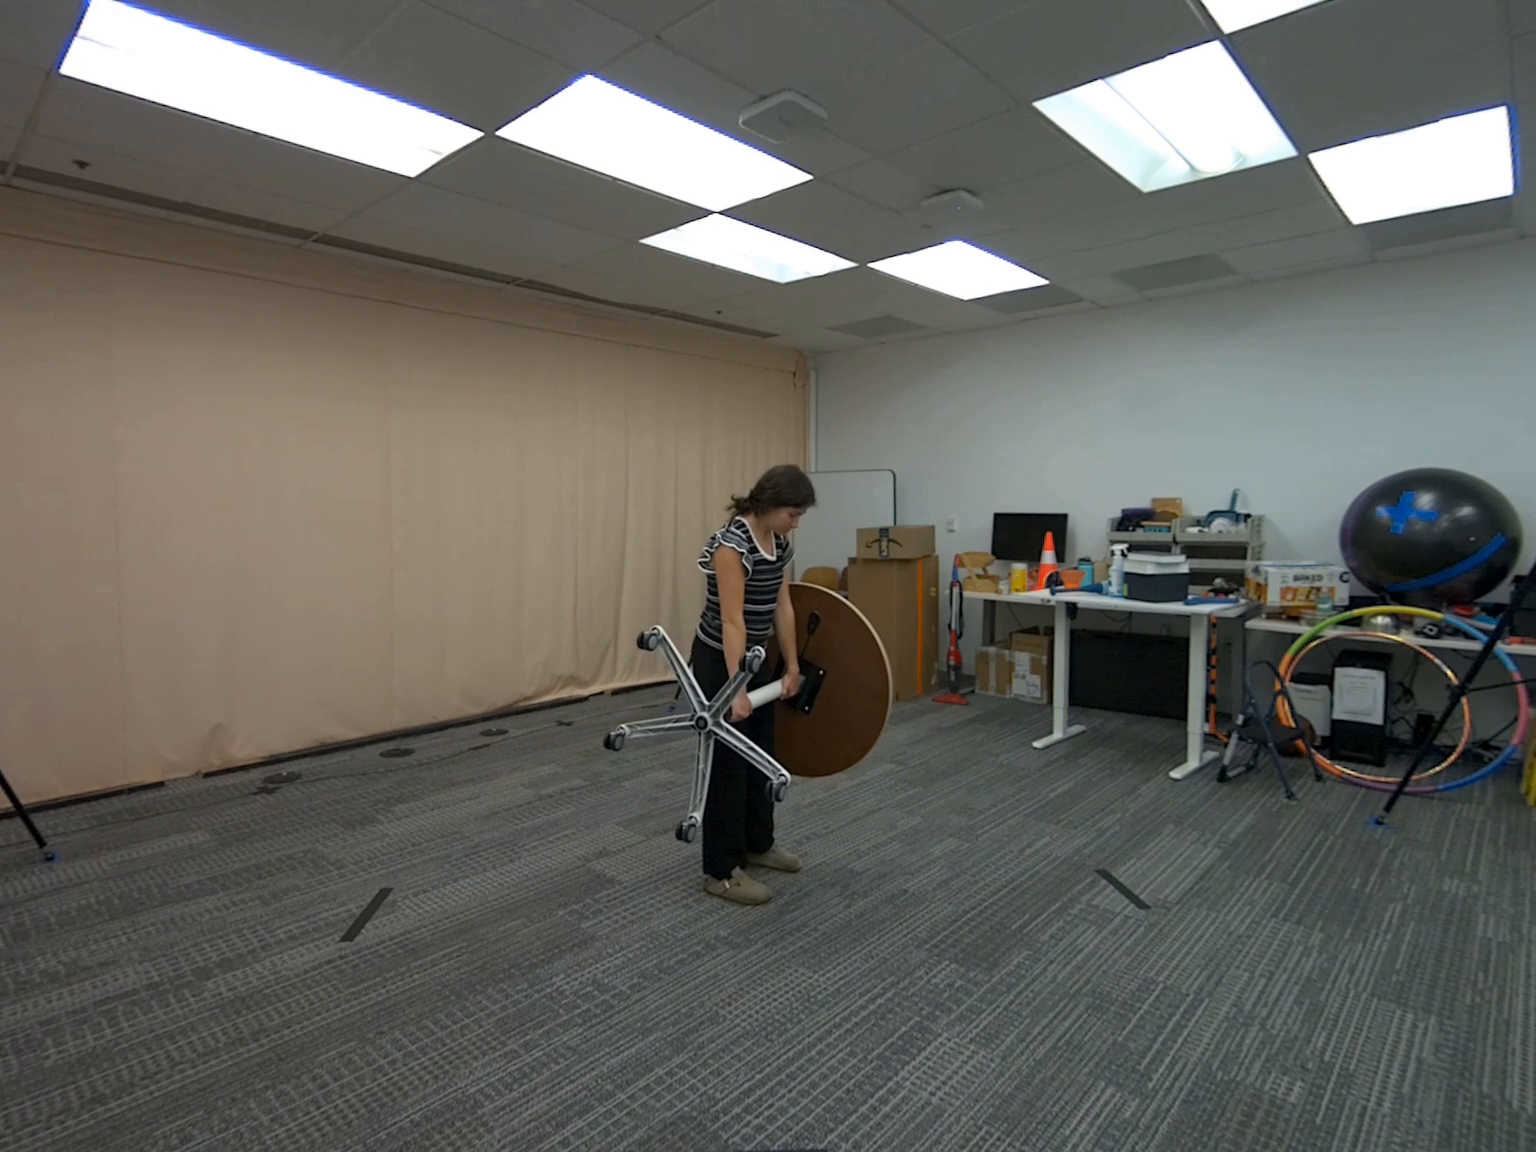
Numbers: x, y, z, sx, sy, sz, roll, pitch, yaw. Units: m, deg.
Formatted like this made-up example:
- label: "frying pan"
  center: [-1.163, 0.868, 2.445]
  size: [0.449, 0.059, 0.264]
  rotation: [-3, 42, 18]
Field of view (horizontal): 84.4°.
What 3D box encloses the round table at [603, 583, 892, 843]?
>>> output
- label: "round table"
  center: [-0.060, 0.458, 2.987]
  size: [0.786, 0.761, 0.773]
  rotation: [2, 6, 31]
